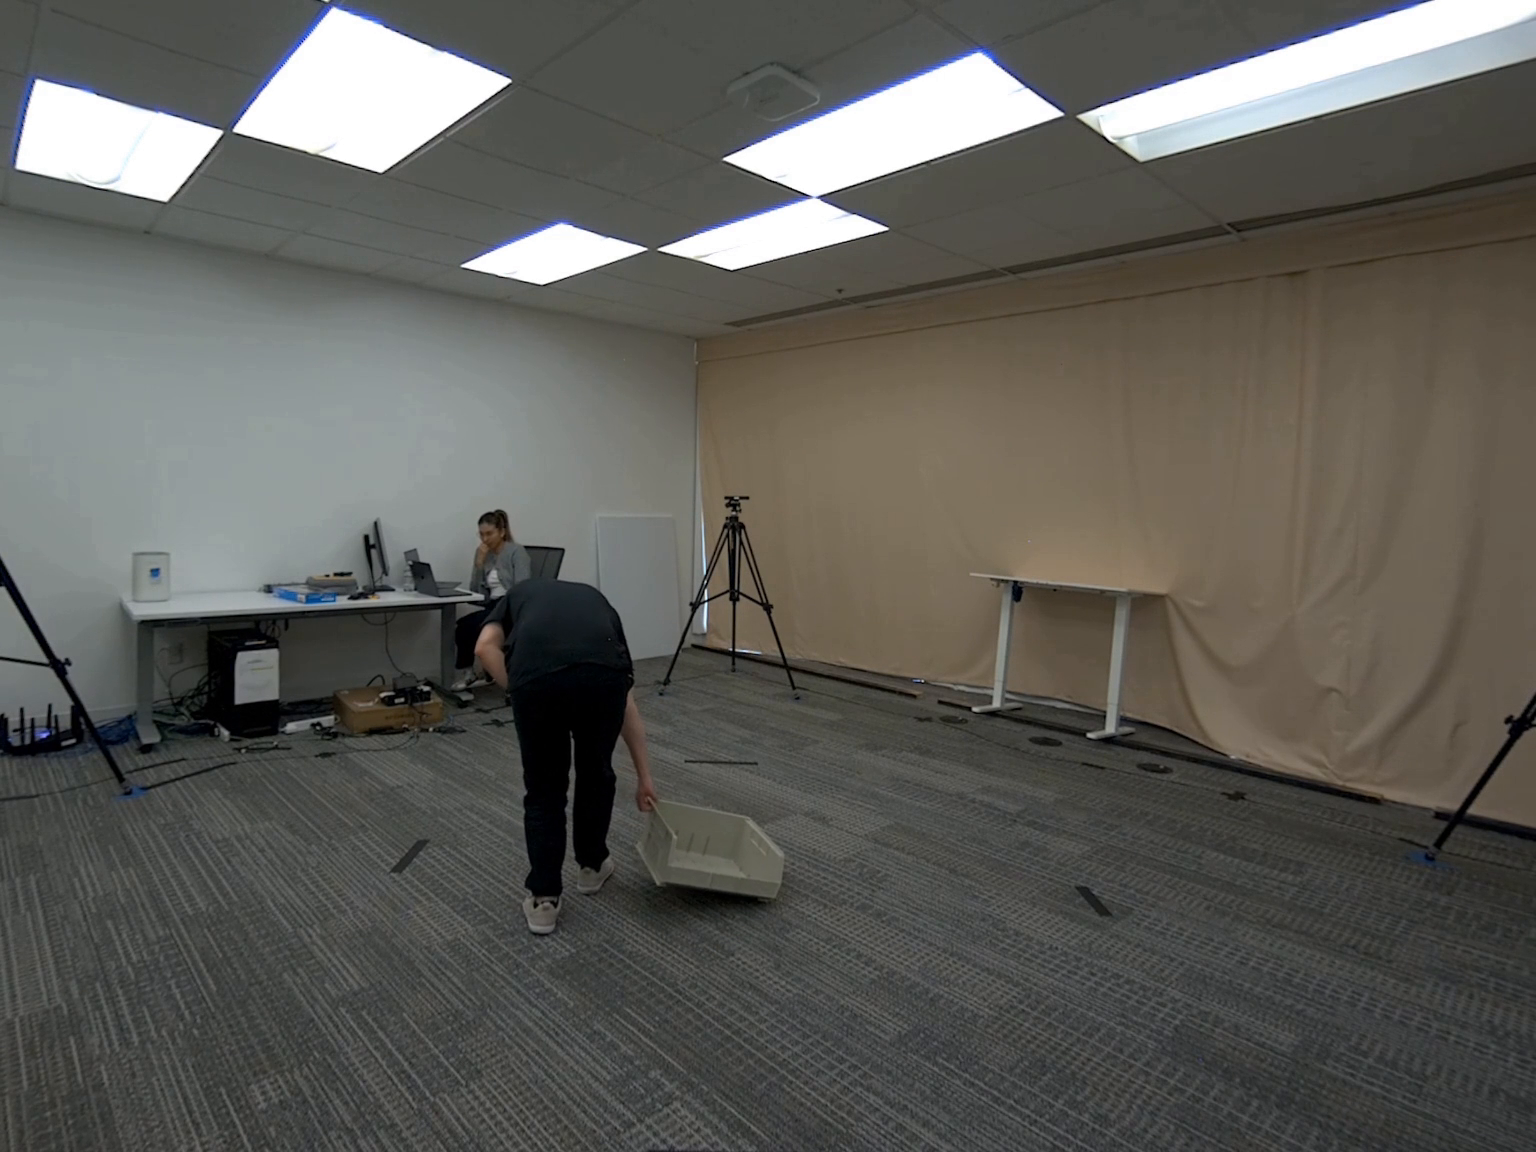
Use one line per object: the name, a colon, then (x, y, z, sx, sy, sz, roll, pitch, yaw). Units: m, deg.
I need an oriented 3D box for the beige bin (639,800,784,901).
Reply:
beige bin: (-0.215, 0.967, 2.960, 0.414, 0.189, 0.384, 16, -2, -22)
